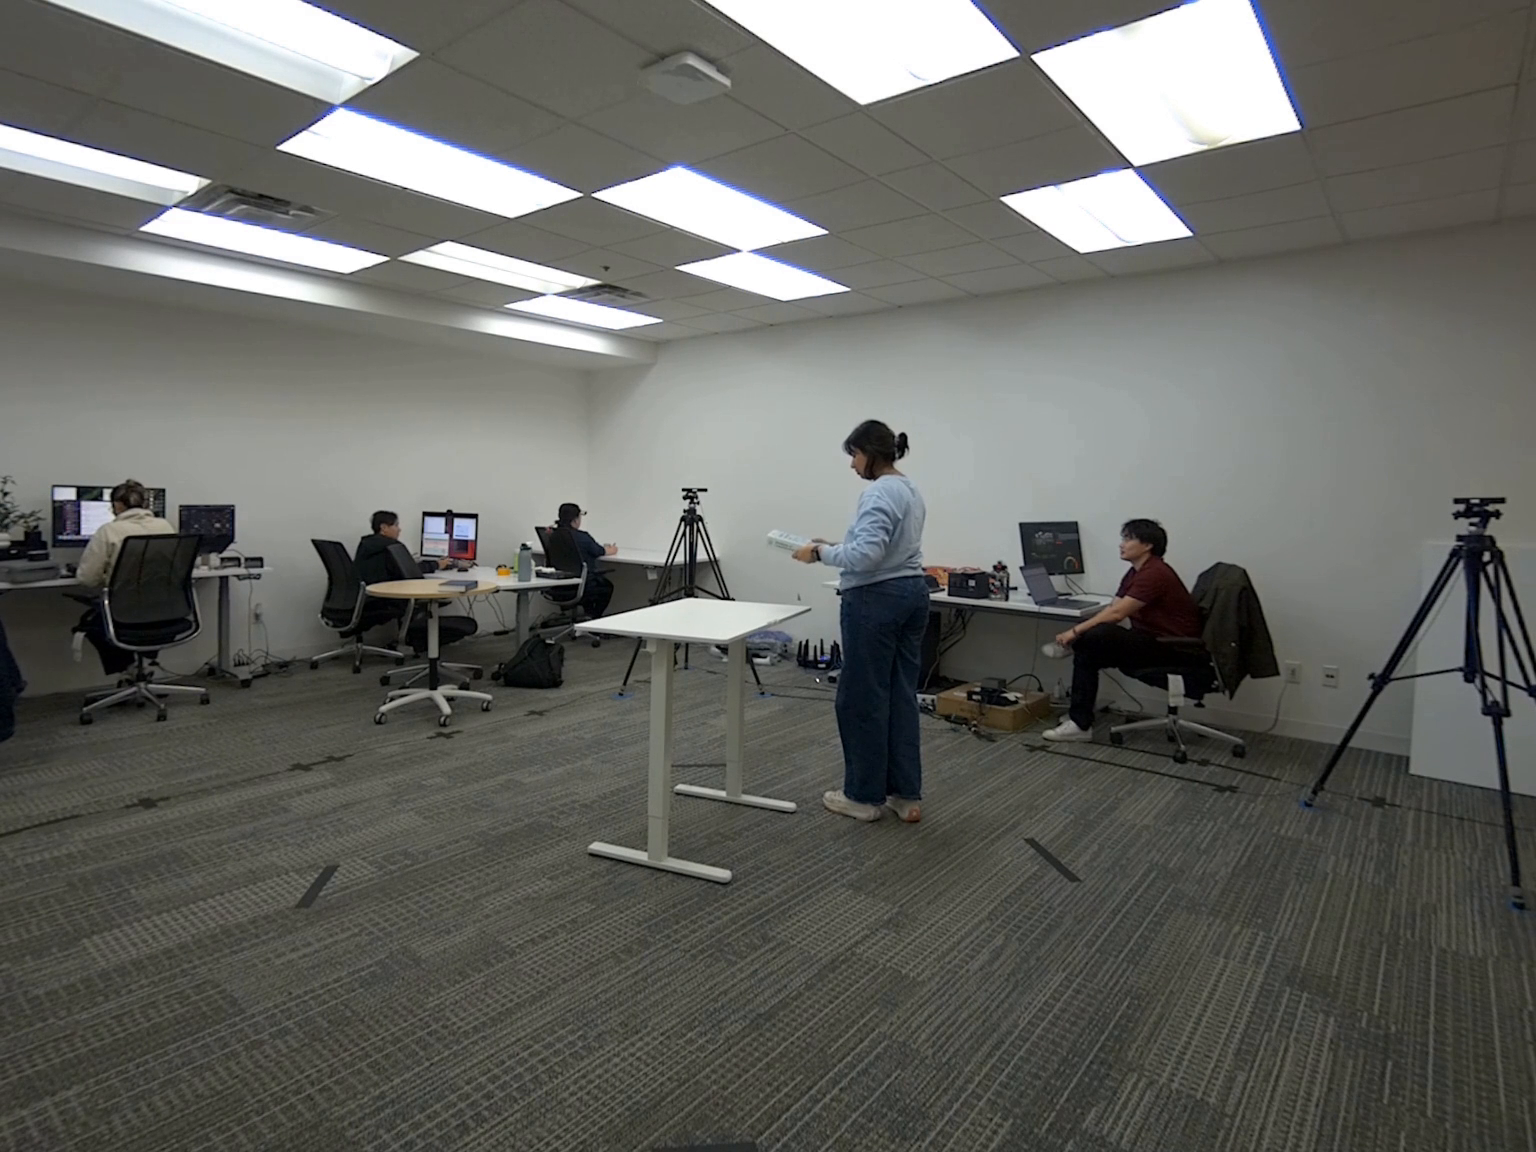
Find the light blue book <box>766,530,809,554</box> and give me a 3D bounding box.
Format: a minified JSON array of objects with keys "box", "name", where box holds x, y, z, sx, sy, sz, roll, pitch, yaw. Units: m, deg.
[{"box":[0.131,-0.141,3.766,0.264,0.058,0.191,14,12,9],"name":"light blue book"}]
